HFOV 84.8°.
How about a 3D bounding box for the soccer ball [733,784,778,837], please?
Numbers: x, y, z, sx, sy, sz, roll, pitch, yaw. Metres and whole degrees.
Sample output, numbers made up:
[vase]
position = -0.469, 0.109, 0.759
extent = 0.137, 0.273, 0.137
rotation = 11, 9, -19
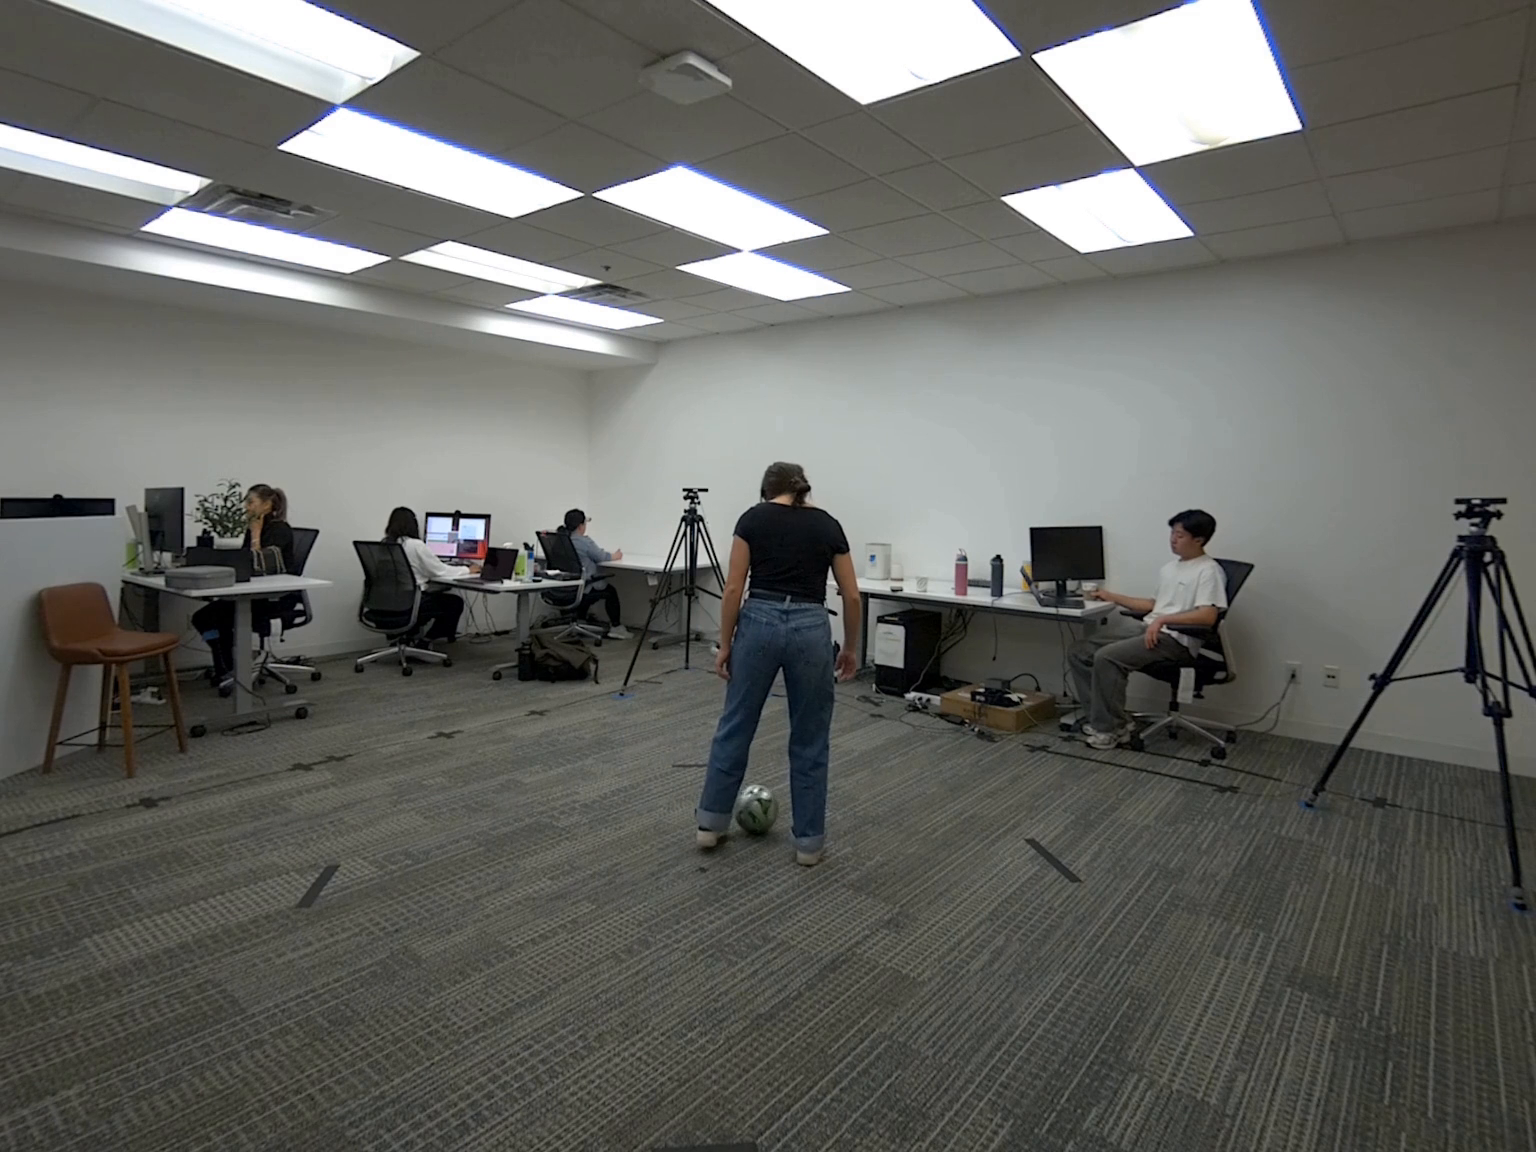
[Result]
[soccer ball]
position = -0.051, 0.941, 3.460
extent = 0.187, 0.187, 0.188
rotation = 1, 4, -2
